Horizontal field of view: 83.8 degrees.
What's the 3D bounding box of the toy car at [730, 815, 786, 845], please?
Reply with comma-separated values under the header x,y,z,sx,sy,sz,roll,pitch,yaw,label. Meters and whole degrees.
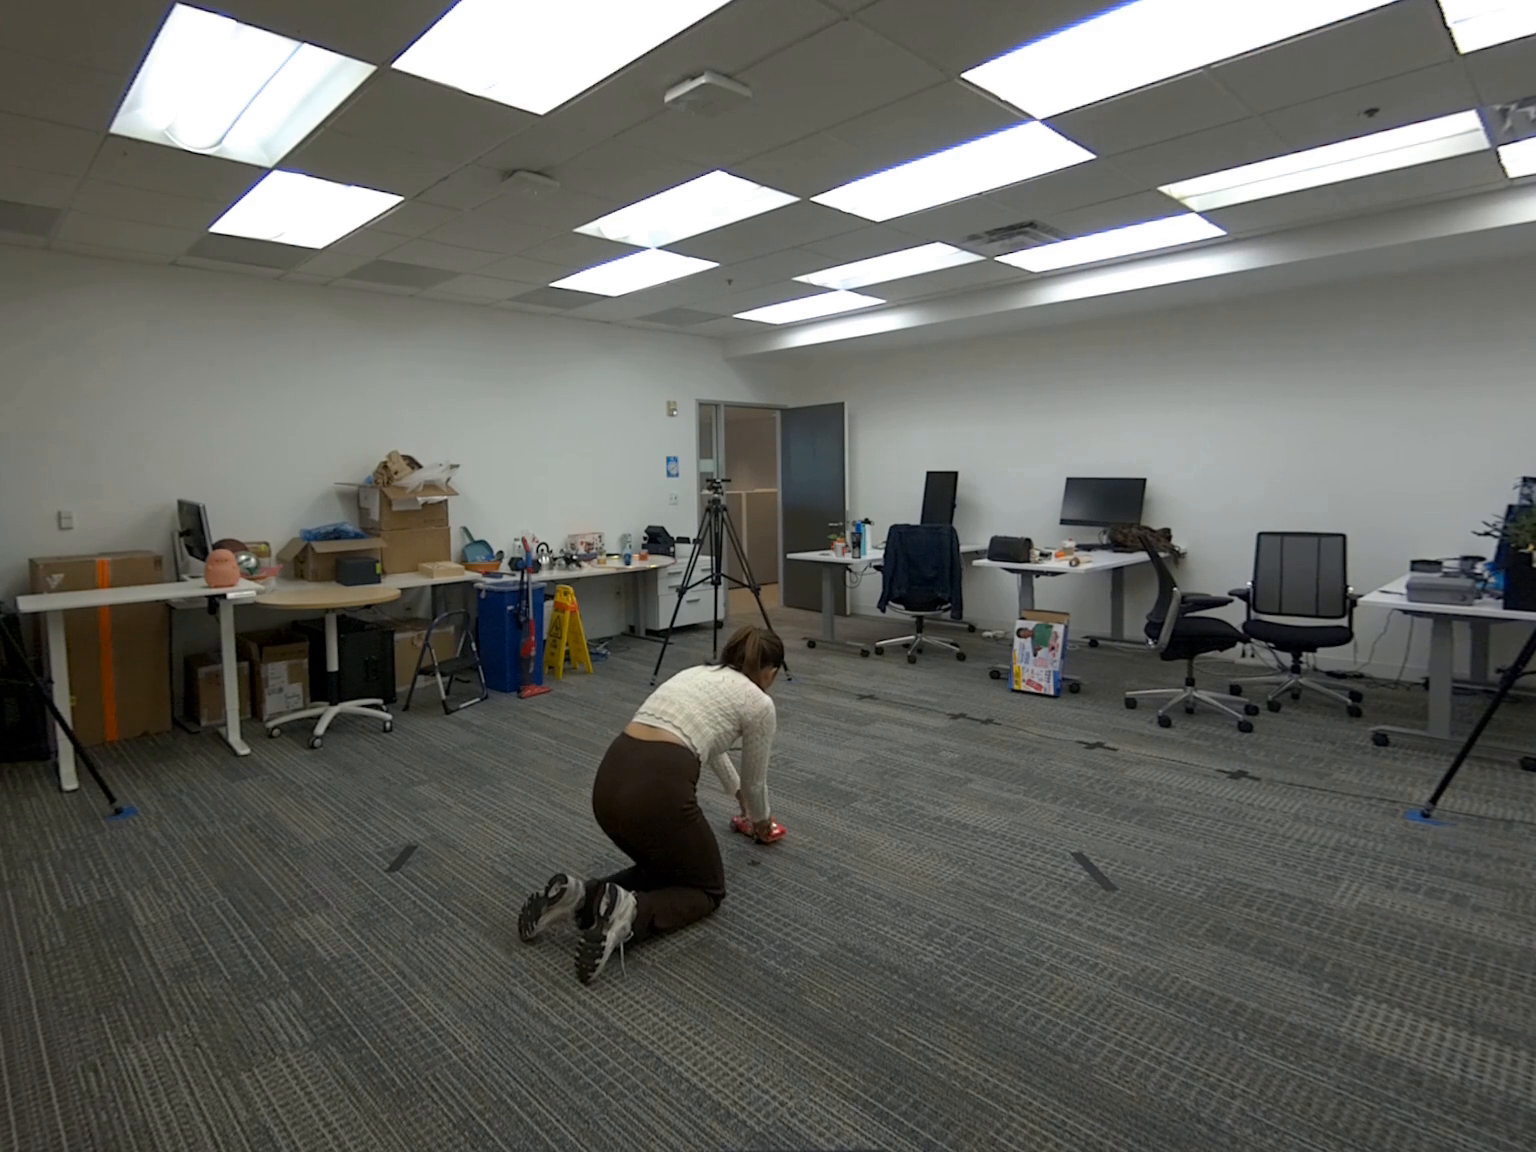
x,y,z,sx,sy,sz,roll,pitch,yaw,label
-0.034,0.987,3.331,0.127,0.084,0.260,-5,-5,-37,toy car
